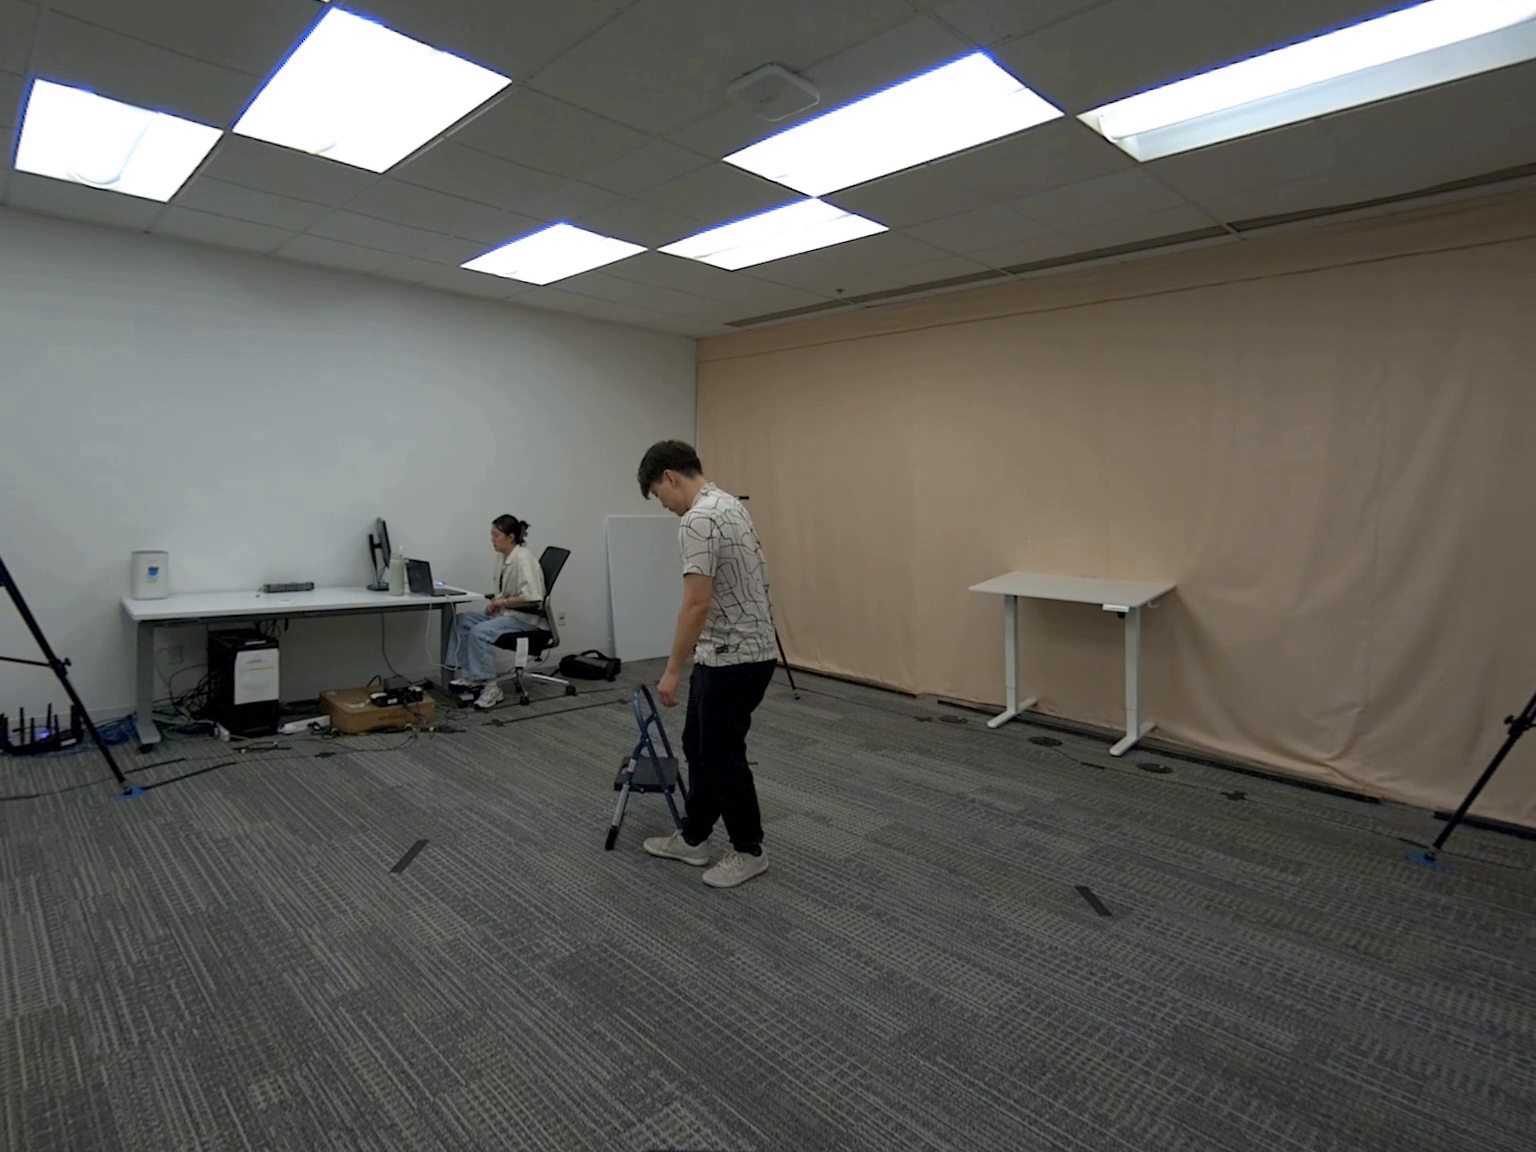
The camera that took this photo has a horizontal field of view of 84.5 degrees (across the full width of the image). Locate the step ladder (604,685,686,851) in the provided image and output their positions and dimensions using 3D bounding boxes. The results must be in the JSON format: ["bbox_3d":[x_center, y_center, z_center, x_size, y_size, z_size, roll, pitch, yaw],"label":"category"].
[{"bbox_3d":[-0.479,0.761,3.491,0.349,0.604,0.432,1,4,-3],"label":"step ladder"}]
